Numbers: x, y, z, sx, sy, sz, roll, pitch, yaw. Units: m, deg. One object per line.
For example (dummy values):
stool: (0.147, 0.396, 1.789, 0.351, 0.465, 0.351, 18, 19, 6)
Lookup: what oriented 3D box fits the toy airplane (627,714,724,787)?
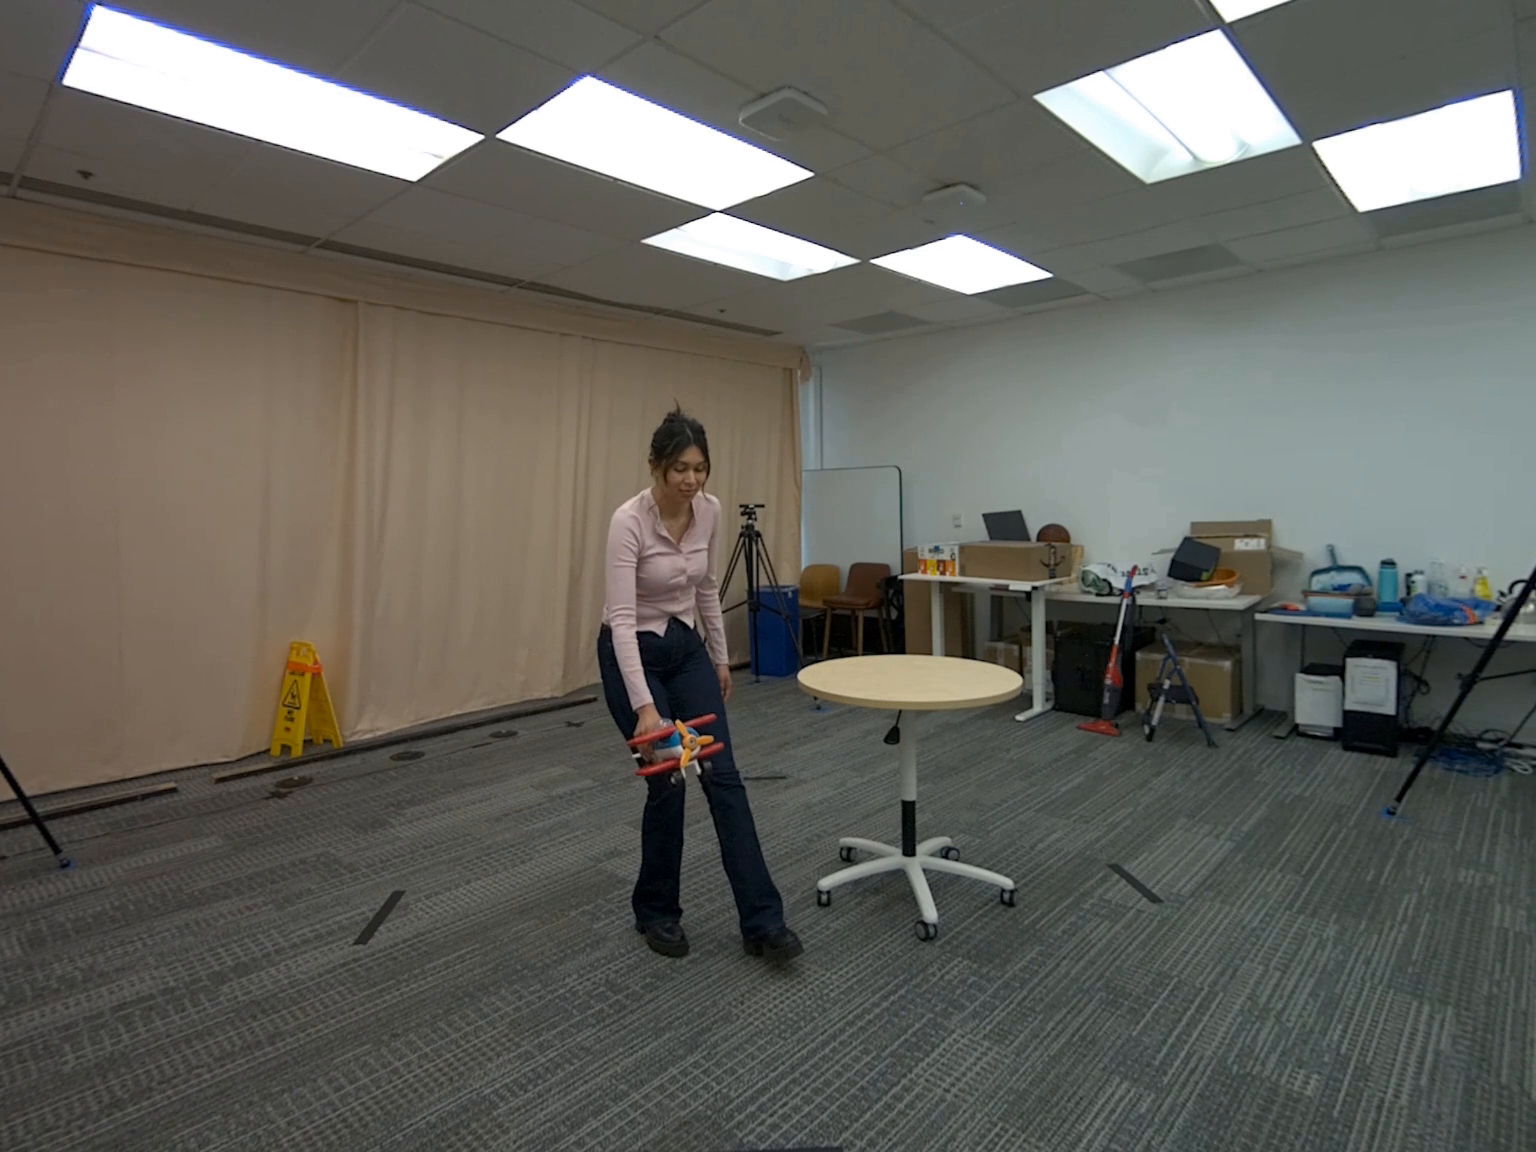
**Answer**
toy airplane: (-0.262, 0.465, 2.234, 0.265, 0.156, 0.246, -4, 5, 26)
